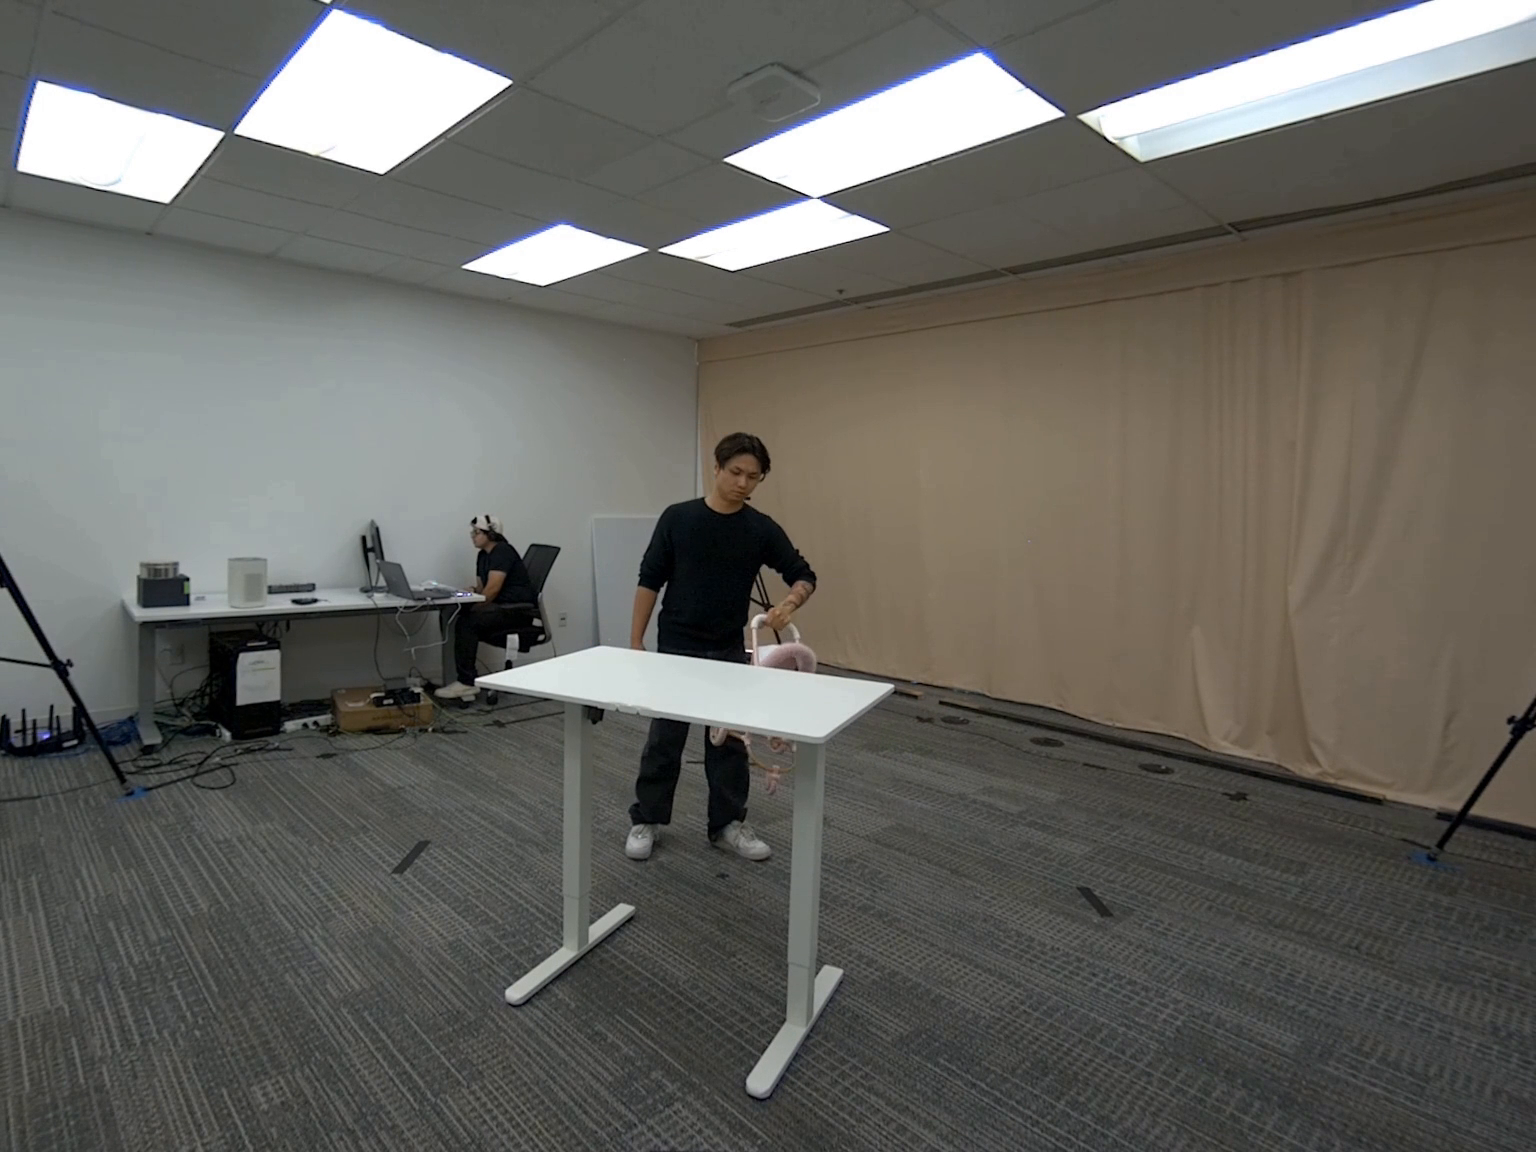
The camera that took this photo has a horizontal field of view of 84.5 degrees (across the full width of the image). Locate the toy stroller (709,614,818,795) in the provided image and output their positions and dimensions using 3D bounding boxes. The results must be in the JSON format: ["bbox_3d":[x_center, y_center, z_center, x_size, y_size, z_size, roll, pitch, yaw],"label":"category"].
[{"bbox_3d":[0.009,0.446,2.899,0.275,0.534,0.349,15,4,-25],"label":"toy stroller"}]
